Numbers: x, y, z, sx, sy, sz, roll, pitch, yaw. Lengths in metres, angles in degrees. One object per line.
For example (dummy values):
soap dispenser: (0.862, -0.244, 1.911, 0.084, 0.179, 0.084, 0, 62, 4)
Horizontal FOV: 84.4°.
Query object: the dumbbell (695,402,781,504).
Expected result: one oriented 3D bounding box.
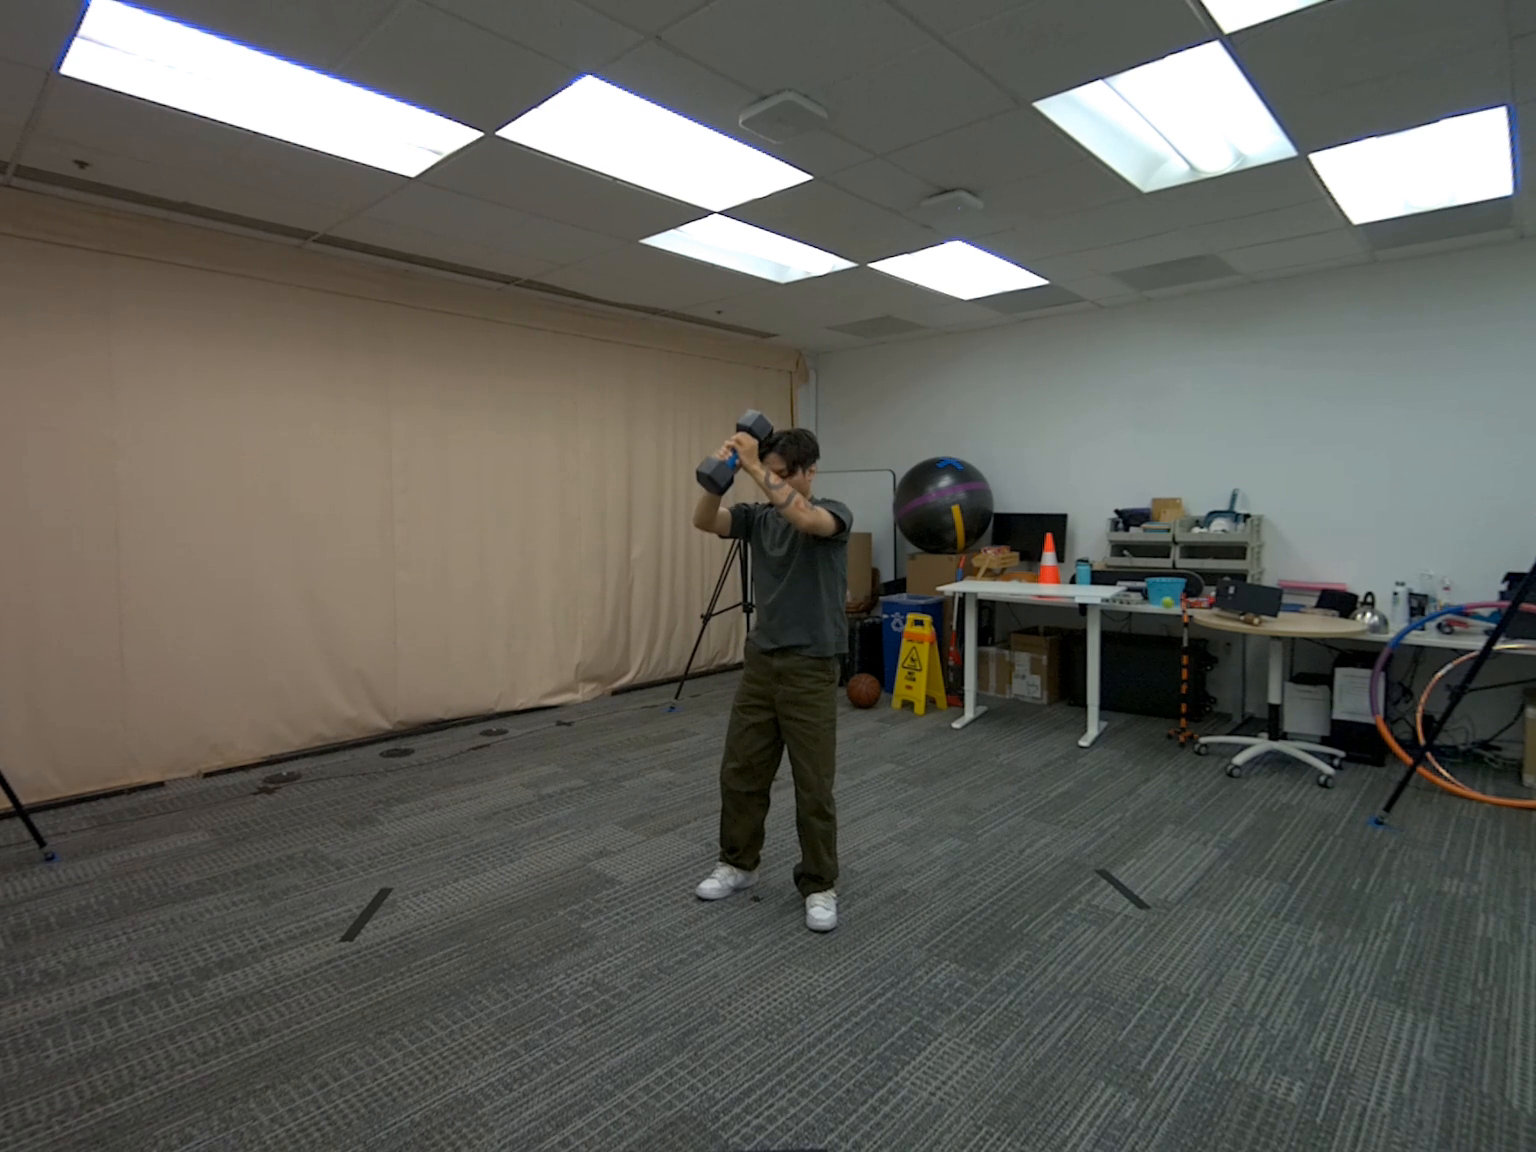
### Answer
dumbbell: (-0.099, -0.394, 2.698, 0.110, 0.292, 0.121, 36, -18, 10)
